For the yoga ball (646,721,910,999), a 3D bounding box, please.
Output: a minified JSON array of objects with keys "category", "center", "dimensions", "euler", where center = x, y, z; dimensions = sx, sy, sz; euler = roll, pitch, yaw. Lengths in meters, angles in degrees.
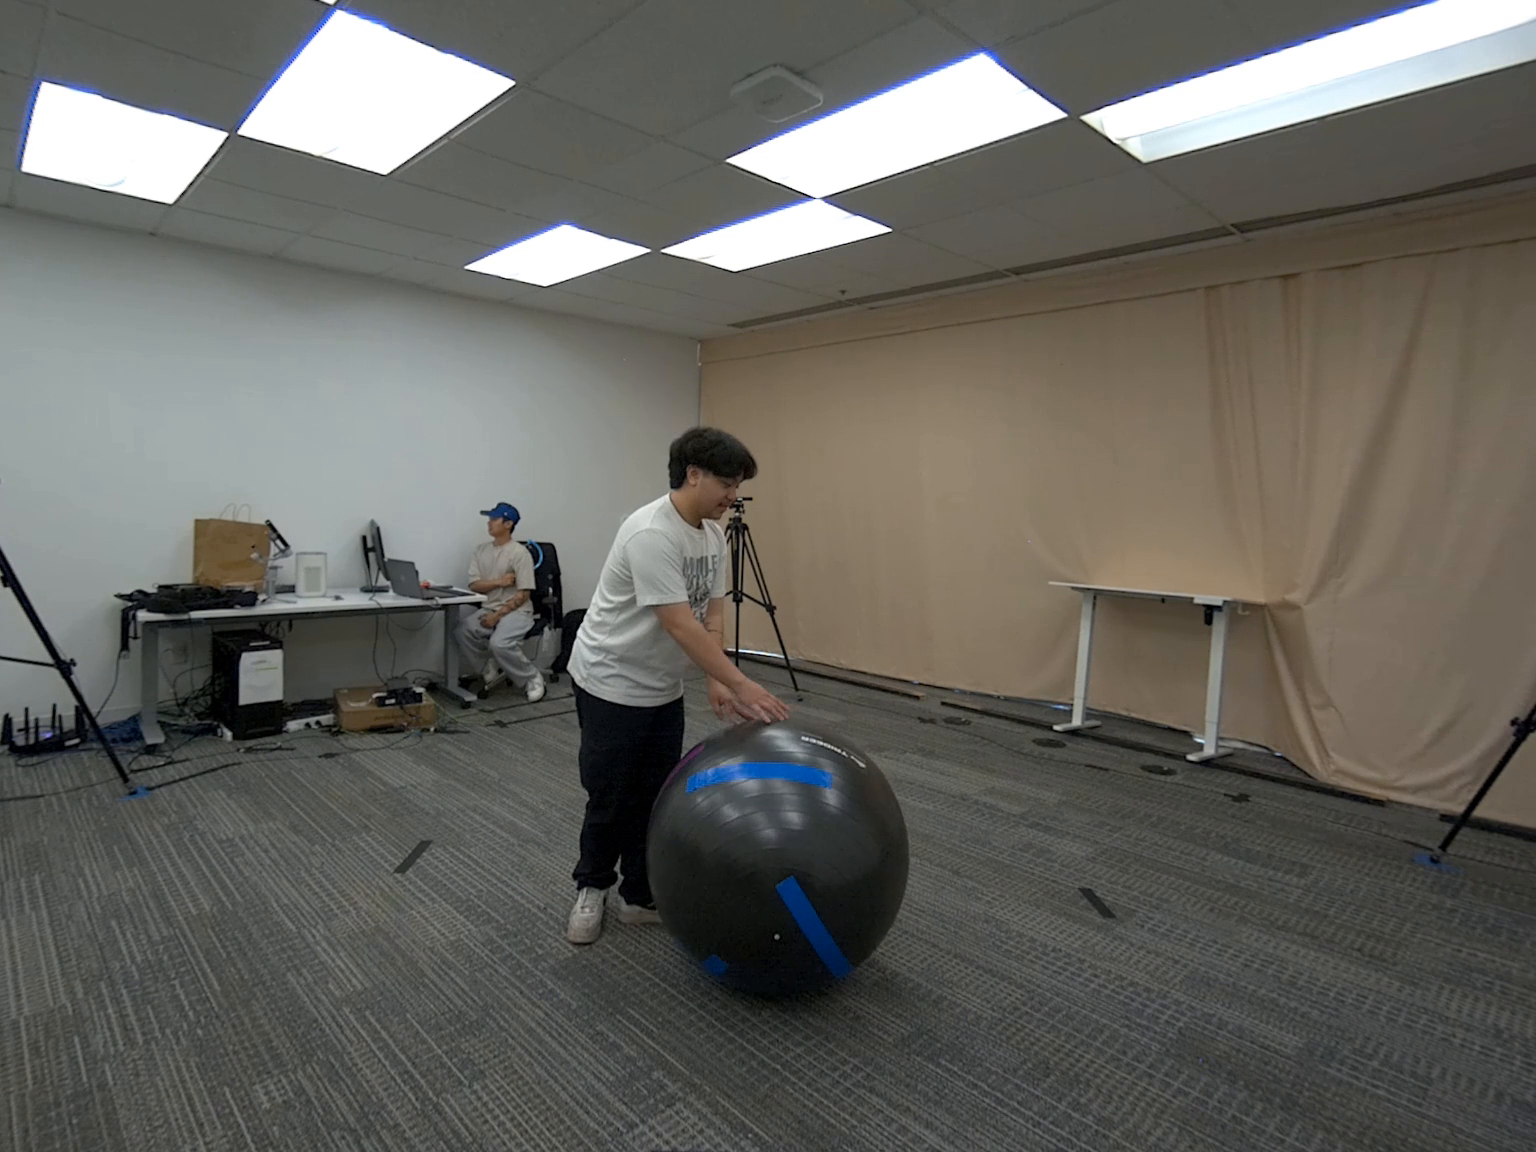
[{"category":"yoga ball","center":[0.023,0.805,2.457],"dimensions":[0.757,0.756,0.761],"euler":[1,4,-1]}]
